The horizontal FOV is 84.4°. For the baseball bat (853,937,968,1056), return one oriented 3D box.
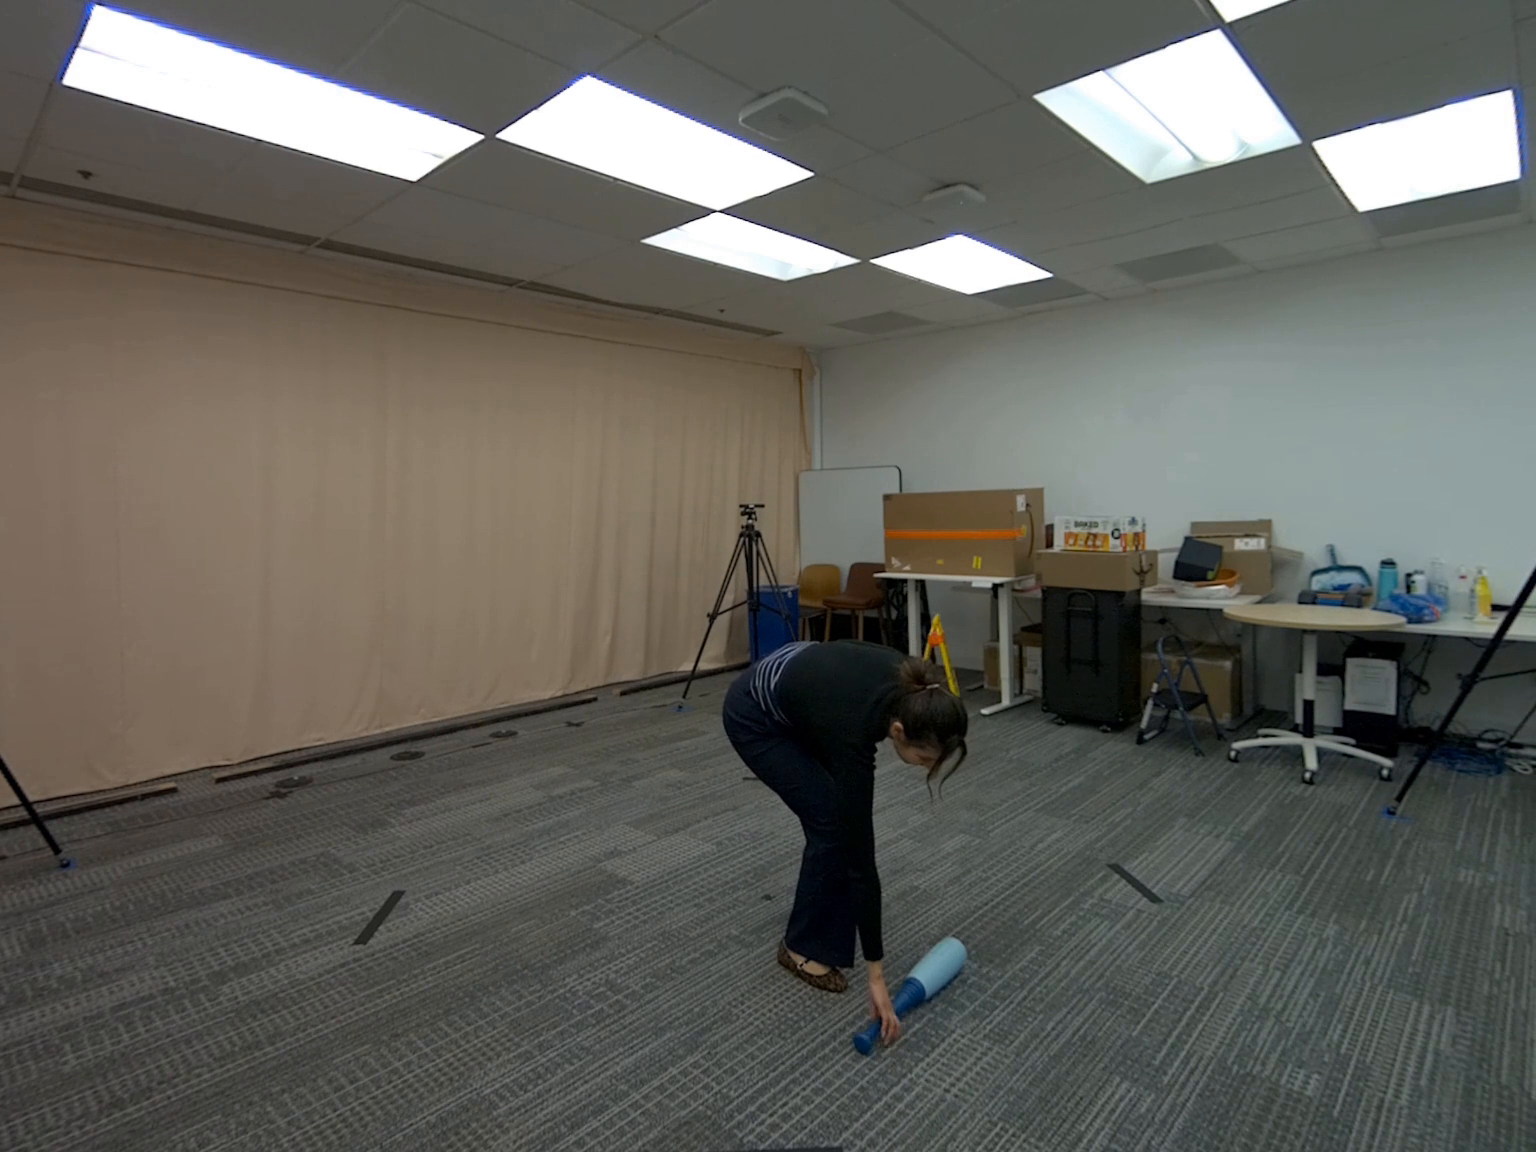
[{"bbox_3d":[0.406,1.148,2.319,0.092,0.089,0.527,2,8,40],"label":"baseball bat"}]
